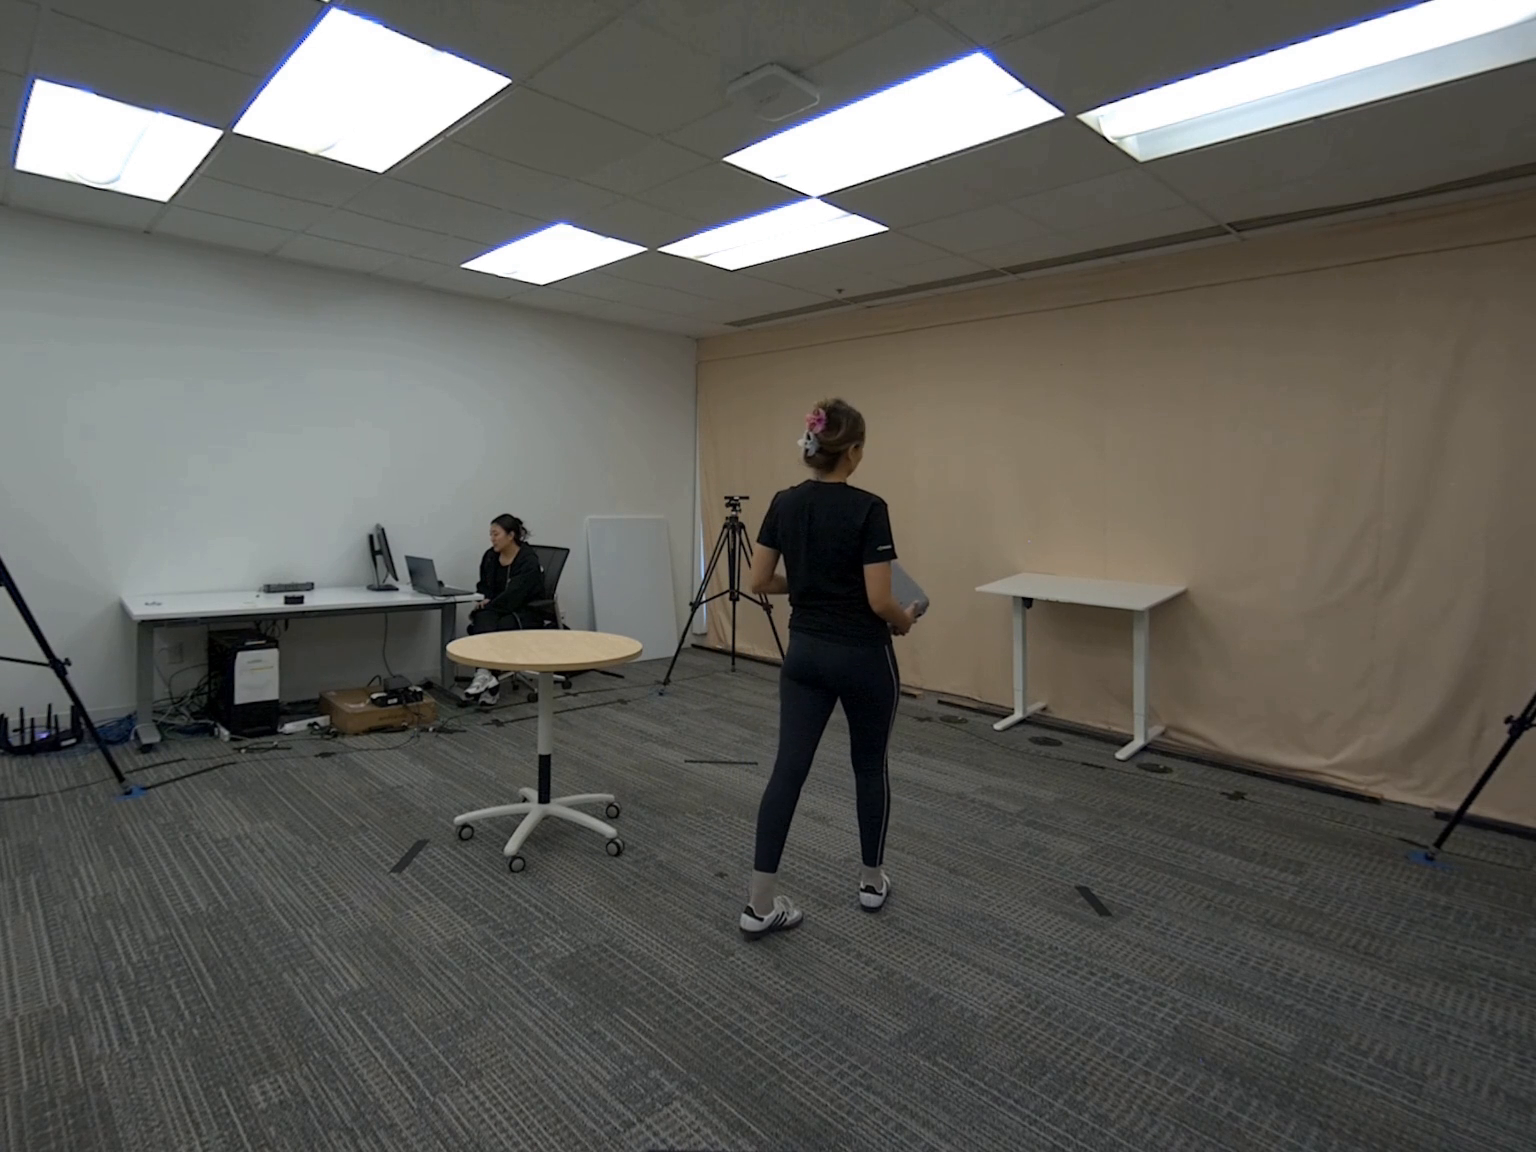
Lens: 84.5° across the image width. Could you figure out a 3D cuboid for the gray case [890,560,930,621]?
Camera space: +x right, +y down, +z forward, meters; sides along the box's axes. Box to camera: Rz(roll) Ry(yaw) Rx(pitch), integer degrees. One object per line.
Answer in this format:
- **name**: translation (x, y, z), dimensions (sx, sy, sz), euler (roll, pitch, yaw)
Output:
- **gray case**: translation (0.395, 0.079, 2.987), dimensions (0.255, 0.268, 0.102), euler (-31, -29, -16)
